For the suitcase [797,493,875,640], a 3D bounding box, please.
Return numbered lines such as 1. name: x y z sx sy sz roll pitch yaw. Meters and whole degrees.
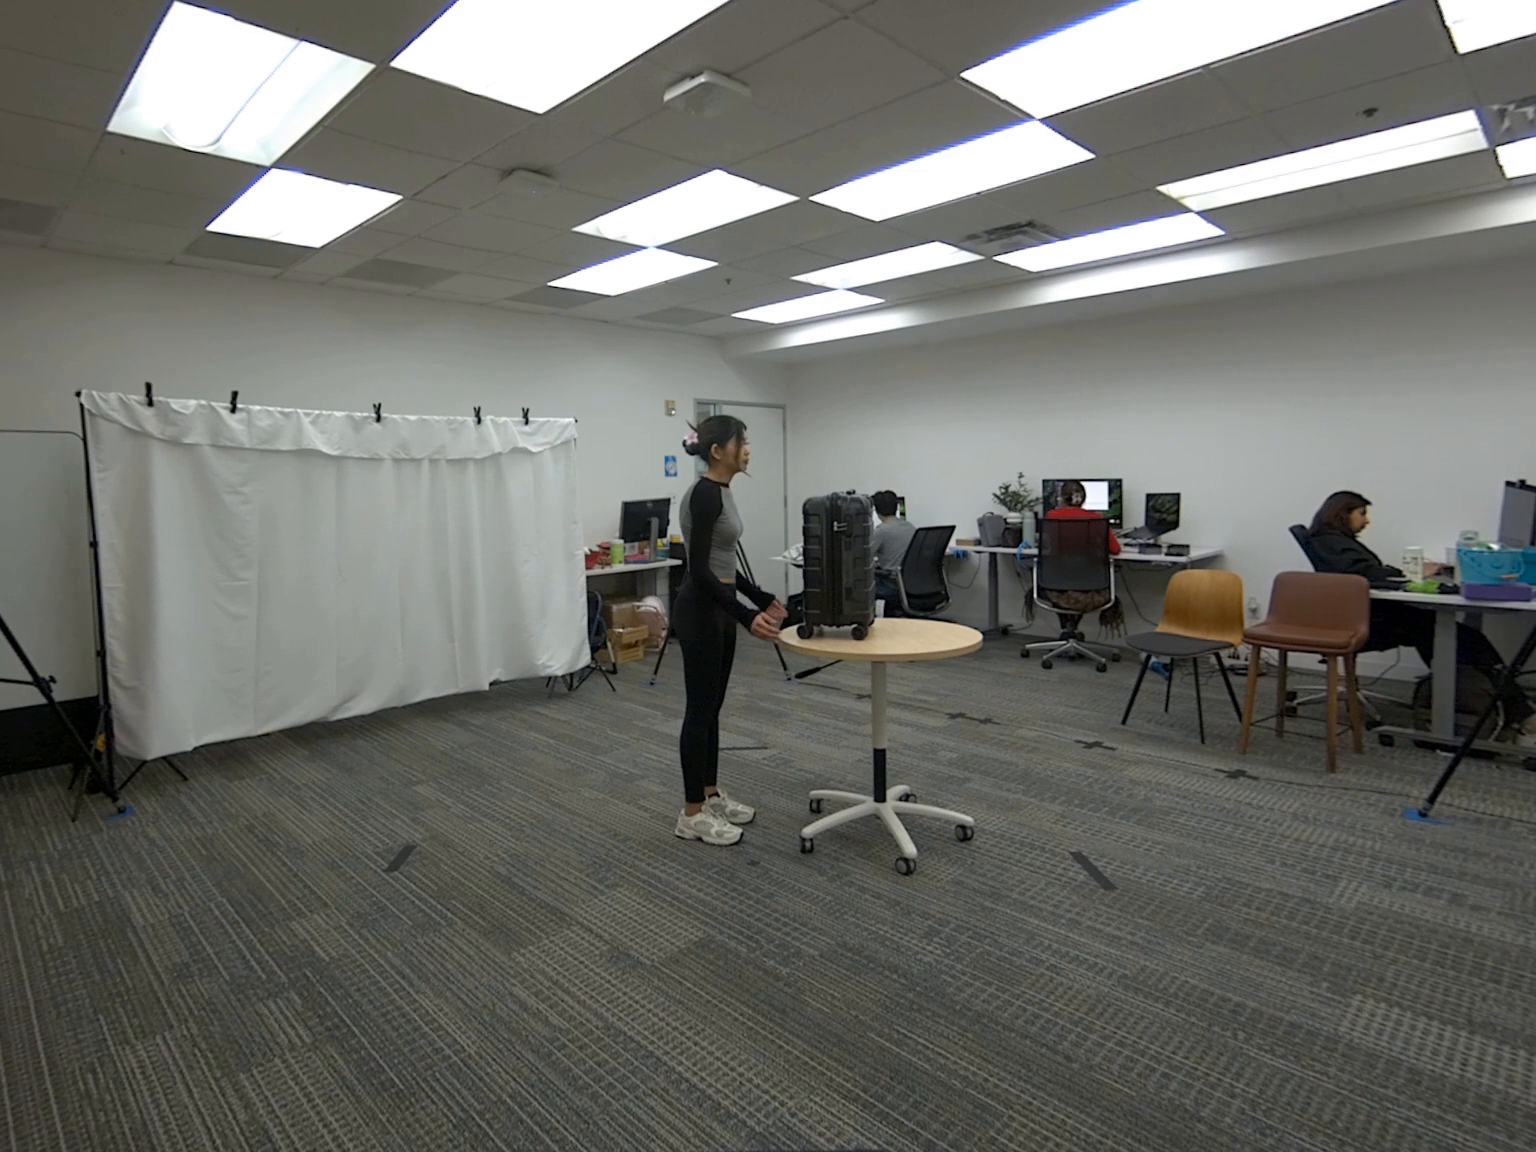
1. suitcase: 0.272 -0.056 3.296 0.251 0.547 0.372 0 5 12
